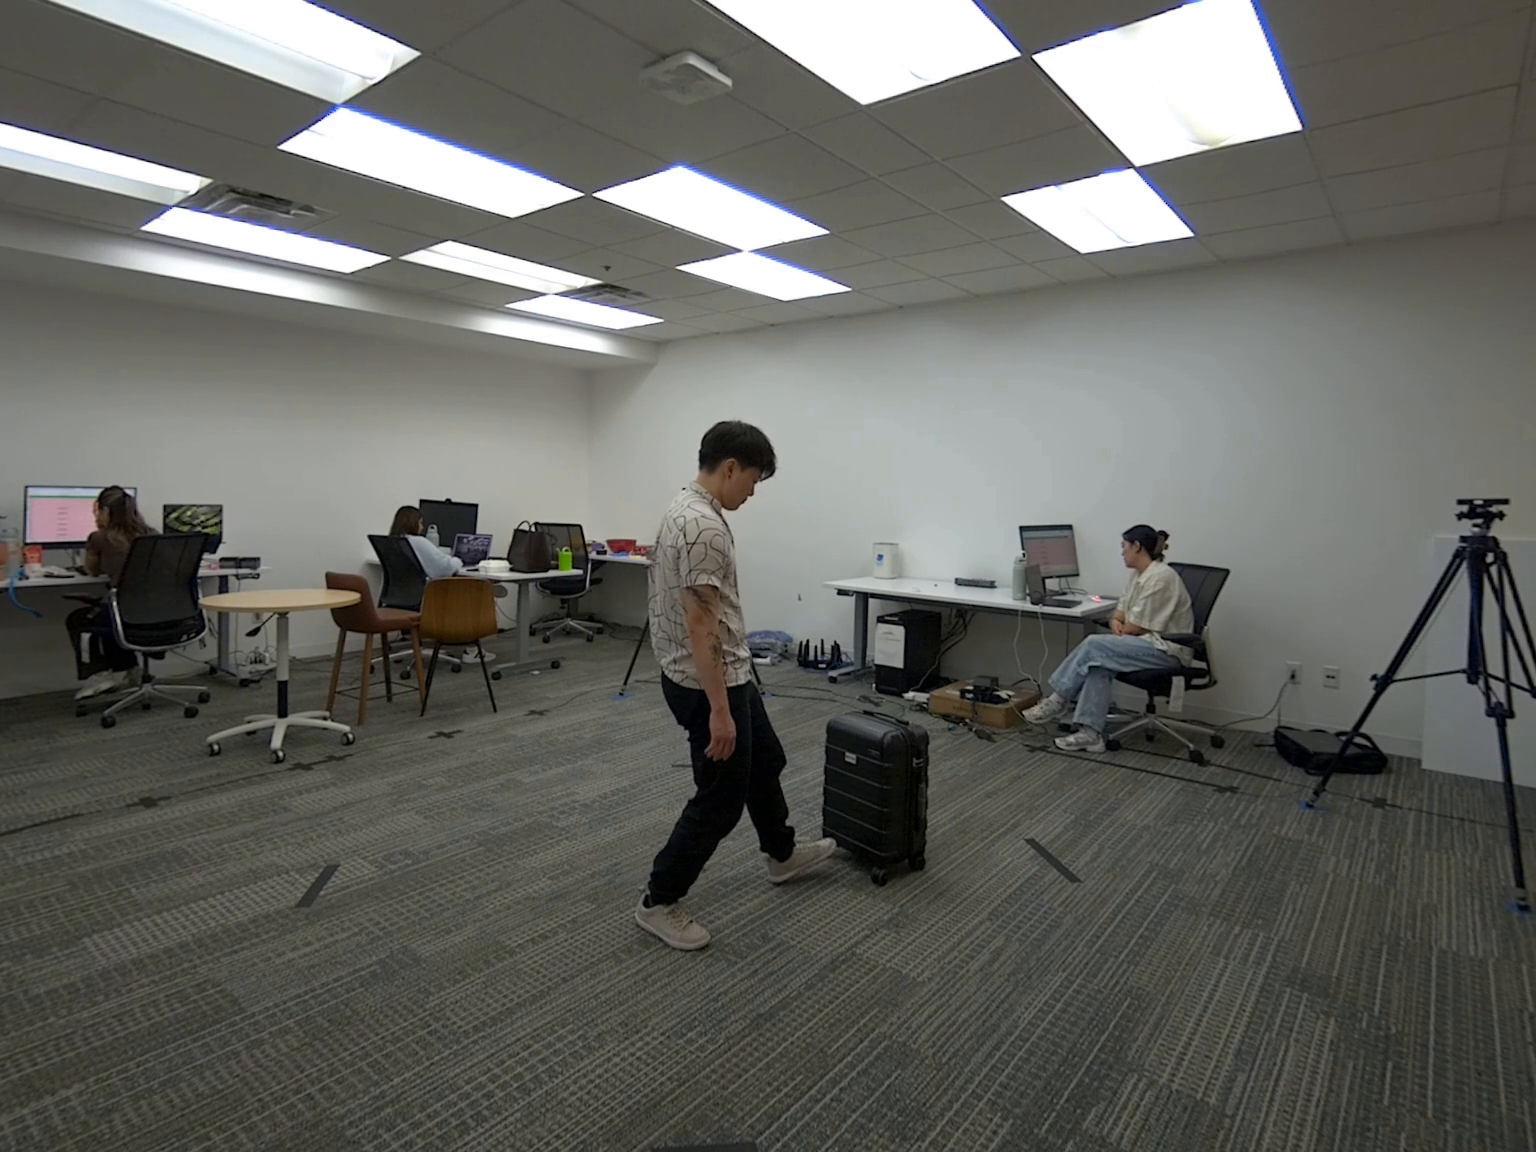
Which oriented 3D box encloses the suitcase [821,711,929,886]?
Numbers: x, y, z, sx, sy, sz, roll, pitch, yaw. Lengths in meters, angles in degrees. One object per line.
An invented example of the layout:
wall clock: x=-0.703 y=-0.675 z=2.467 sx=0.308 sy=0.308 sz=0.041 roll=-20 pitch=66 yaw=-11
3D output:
suitcase: x=0.394 y=0.793 z=3.204 sx=0.241 sy=0.548 sz=0.388 roll=-1 pitch=4 yaw=-39
